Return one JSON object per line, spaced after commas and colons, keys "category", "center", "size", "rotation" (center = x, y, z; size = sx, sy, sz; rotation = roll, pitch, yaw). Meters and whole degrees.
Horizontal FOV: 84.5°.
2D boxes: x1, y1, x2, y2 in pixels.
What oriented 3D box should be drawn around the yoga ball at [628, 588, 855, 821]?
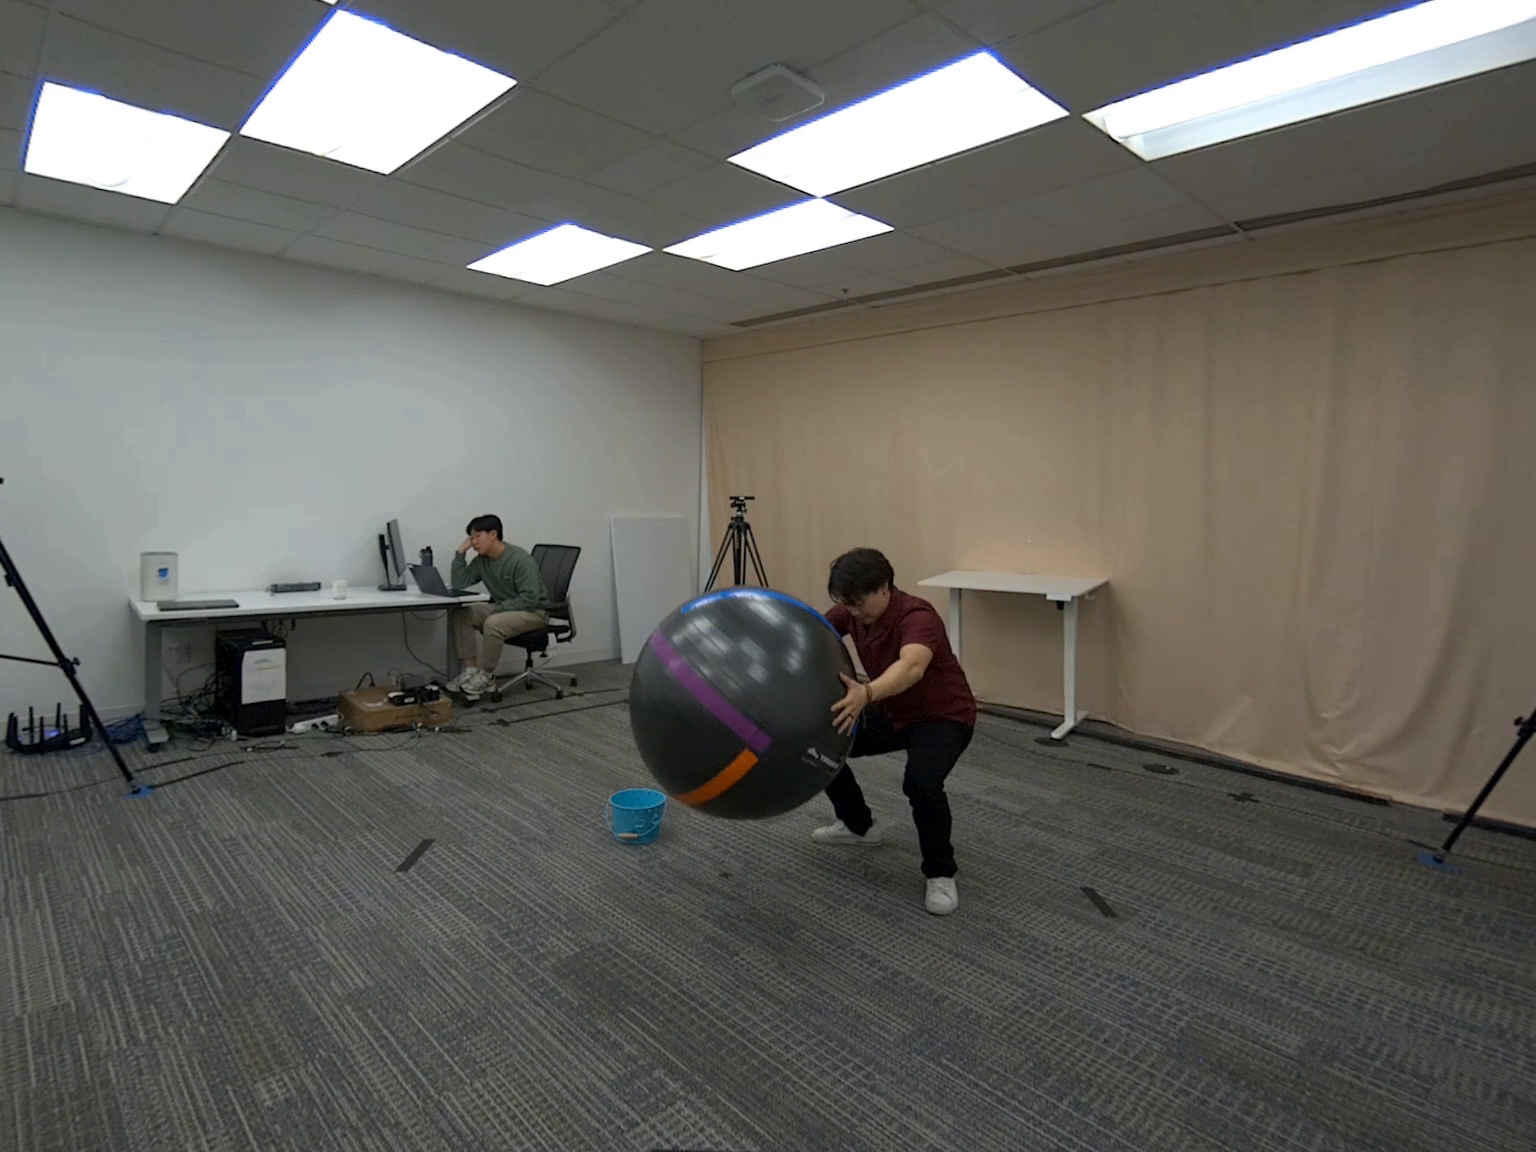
{"category": "yoga ball", "center": [-0.077, 0.411, 2.773], "size": [0.757, 0.756, 0.761], "rotation": [1, 4, -1]}
